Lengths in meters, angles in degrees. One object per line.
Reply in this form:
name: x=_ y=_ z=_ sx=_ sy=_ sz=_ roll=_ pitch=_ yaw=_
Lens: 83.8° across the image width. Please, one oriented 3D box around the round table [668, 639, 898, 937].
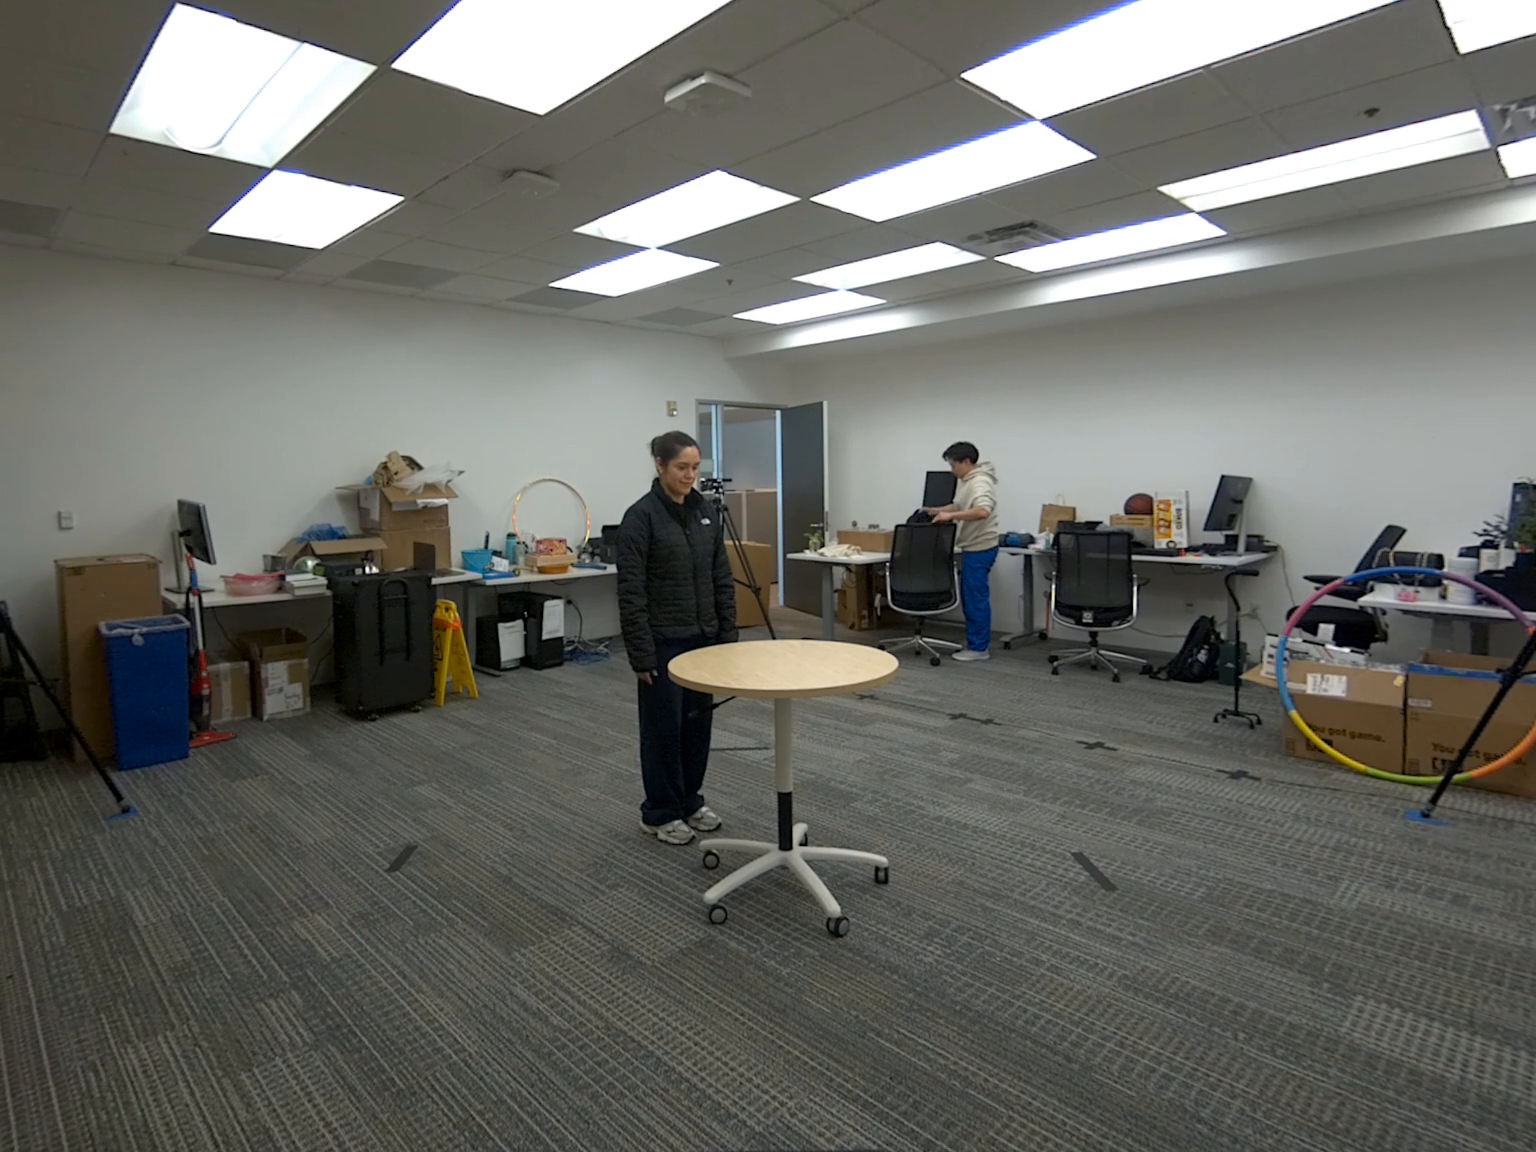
round table: x=0.049 y=0.671 z=2.918 sx=0.784 sy=0.783 sz=0.789 roll=-1 pitch=5 yaw=-2
